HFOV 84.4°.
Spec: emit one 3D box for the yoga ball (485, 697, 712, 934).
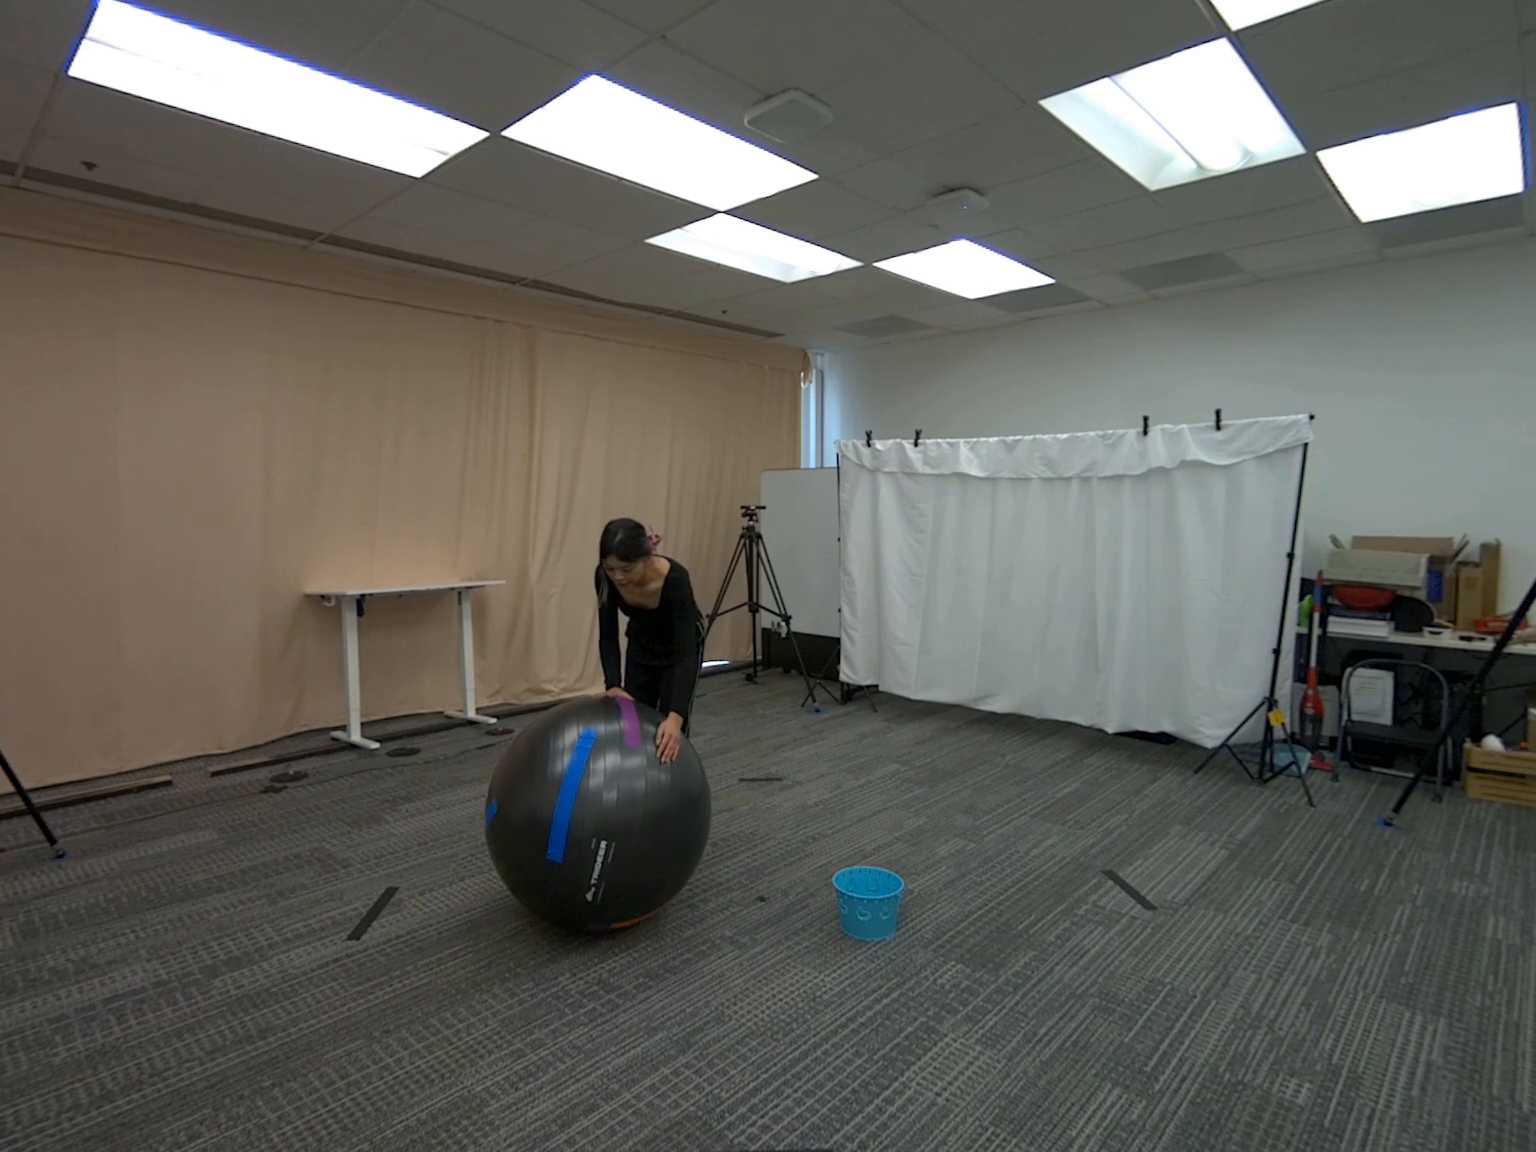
[{"bbox_3d":[-0.566,0.791,2.855,0.757,0.756,0.760,0,4,-2],"label":"yoga ball"}]
